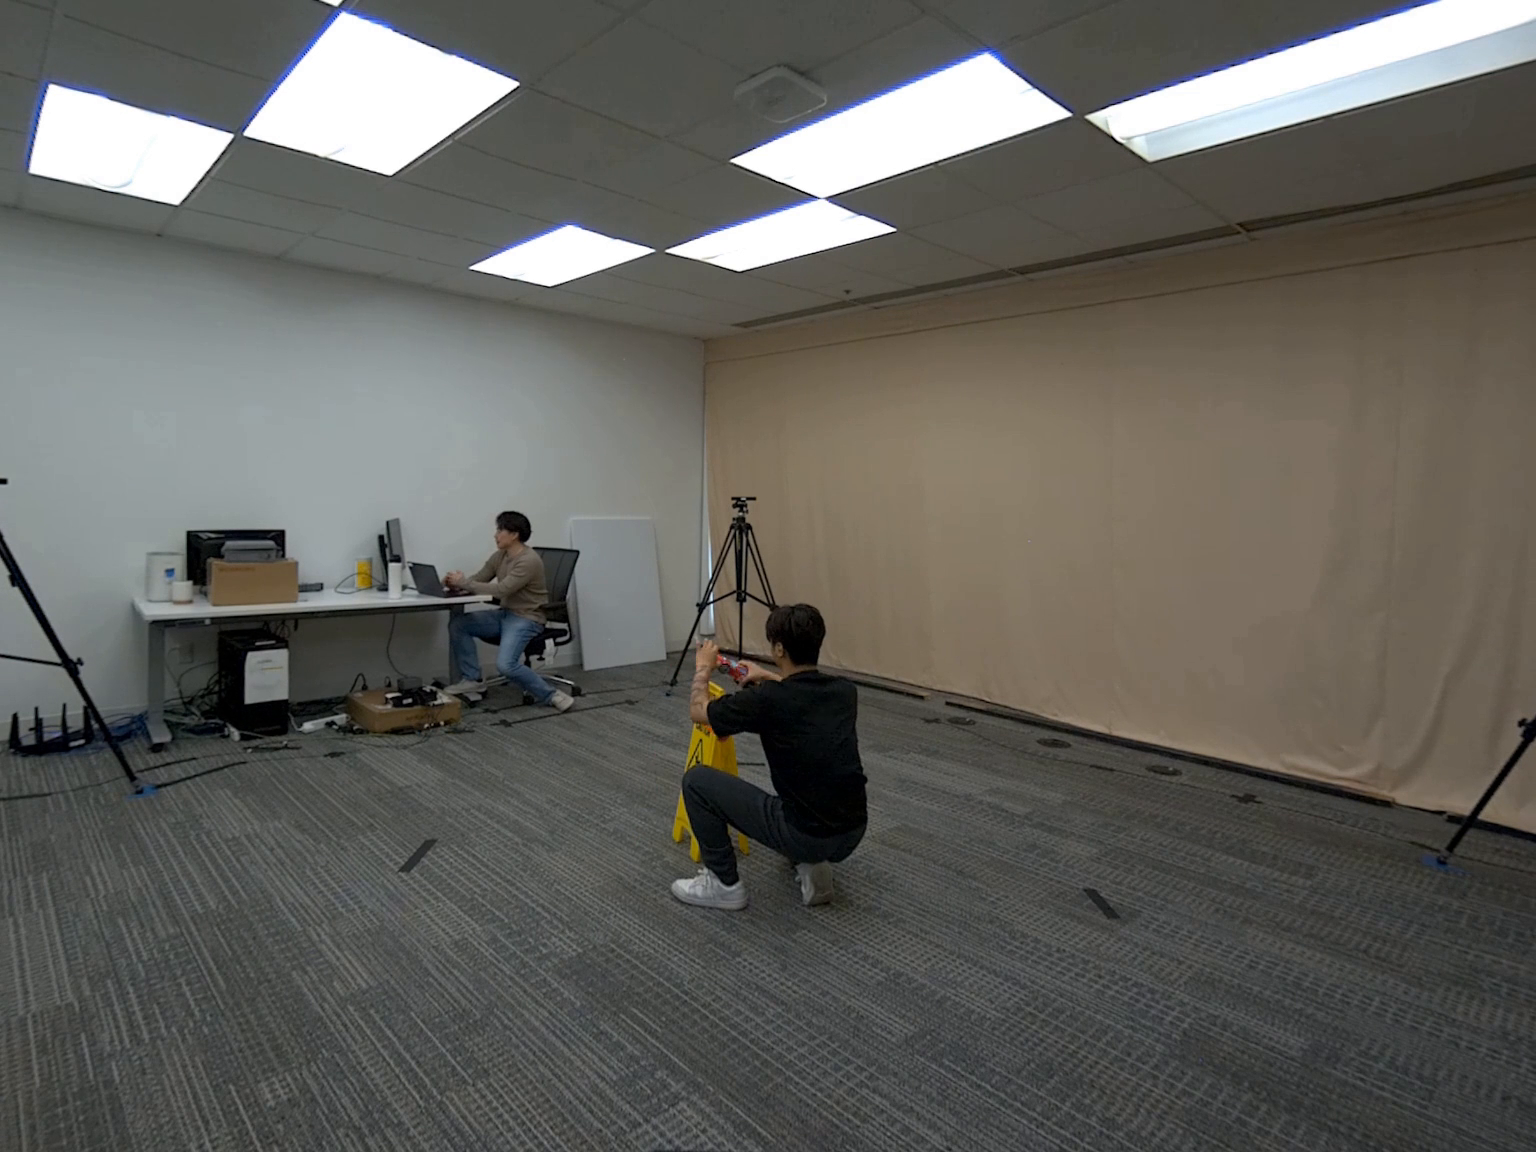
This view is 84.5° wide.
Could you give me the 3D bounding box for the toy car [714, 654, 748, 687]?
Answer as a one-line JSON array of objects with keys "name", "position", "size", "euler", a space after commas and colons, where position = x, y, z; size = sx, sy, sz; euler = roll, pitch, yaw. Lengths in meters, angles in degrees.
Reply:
[{"name": "toy car", "position": [-0.133, 0.404, 3.399], "size": [0.248, 0.083, 0.133], "euler": [31, -1, -27]}]
